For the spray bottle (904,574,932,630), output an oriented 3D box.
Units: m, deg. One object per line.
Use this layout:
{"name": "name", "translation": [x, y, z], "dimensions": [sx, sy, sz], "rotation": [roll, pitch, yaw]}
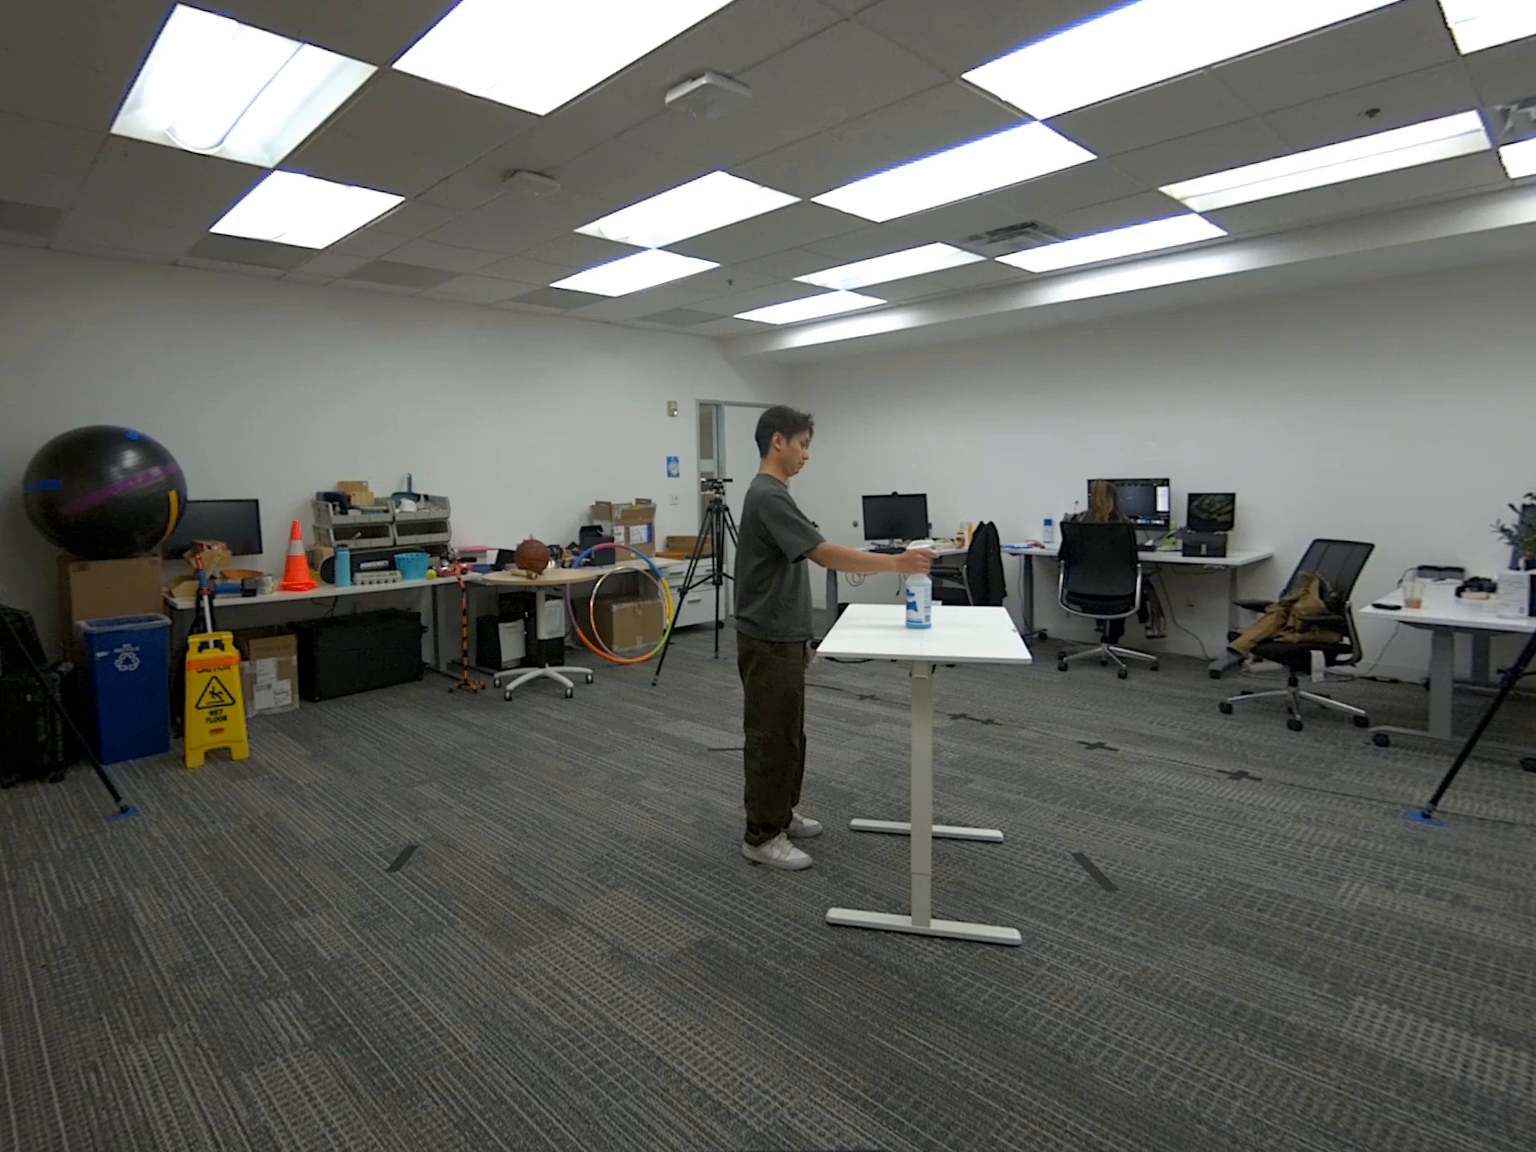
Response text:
{"name": "spray bottle", "translation": [0.517, 0.032, 2.902], "dimensions": [0.092, 0.297, 0.085], "rotation": [5, 2, 26]}
